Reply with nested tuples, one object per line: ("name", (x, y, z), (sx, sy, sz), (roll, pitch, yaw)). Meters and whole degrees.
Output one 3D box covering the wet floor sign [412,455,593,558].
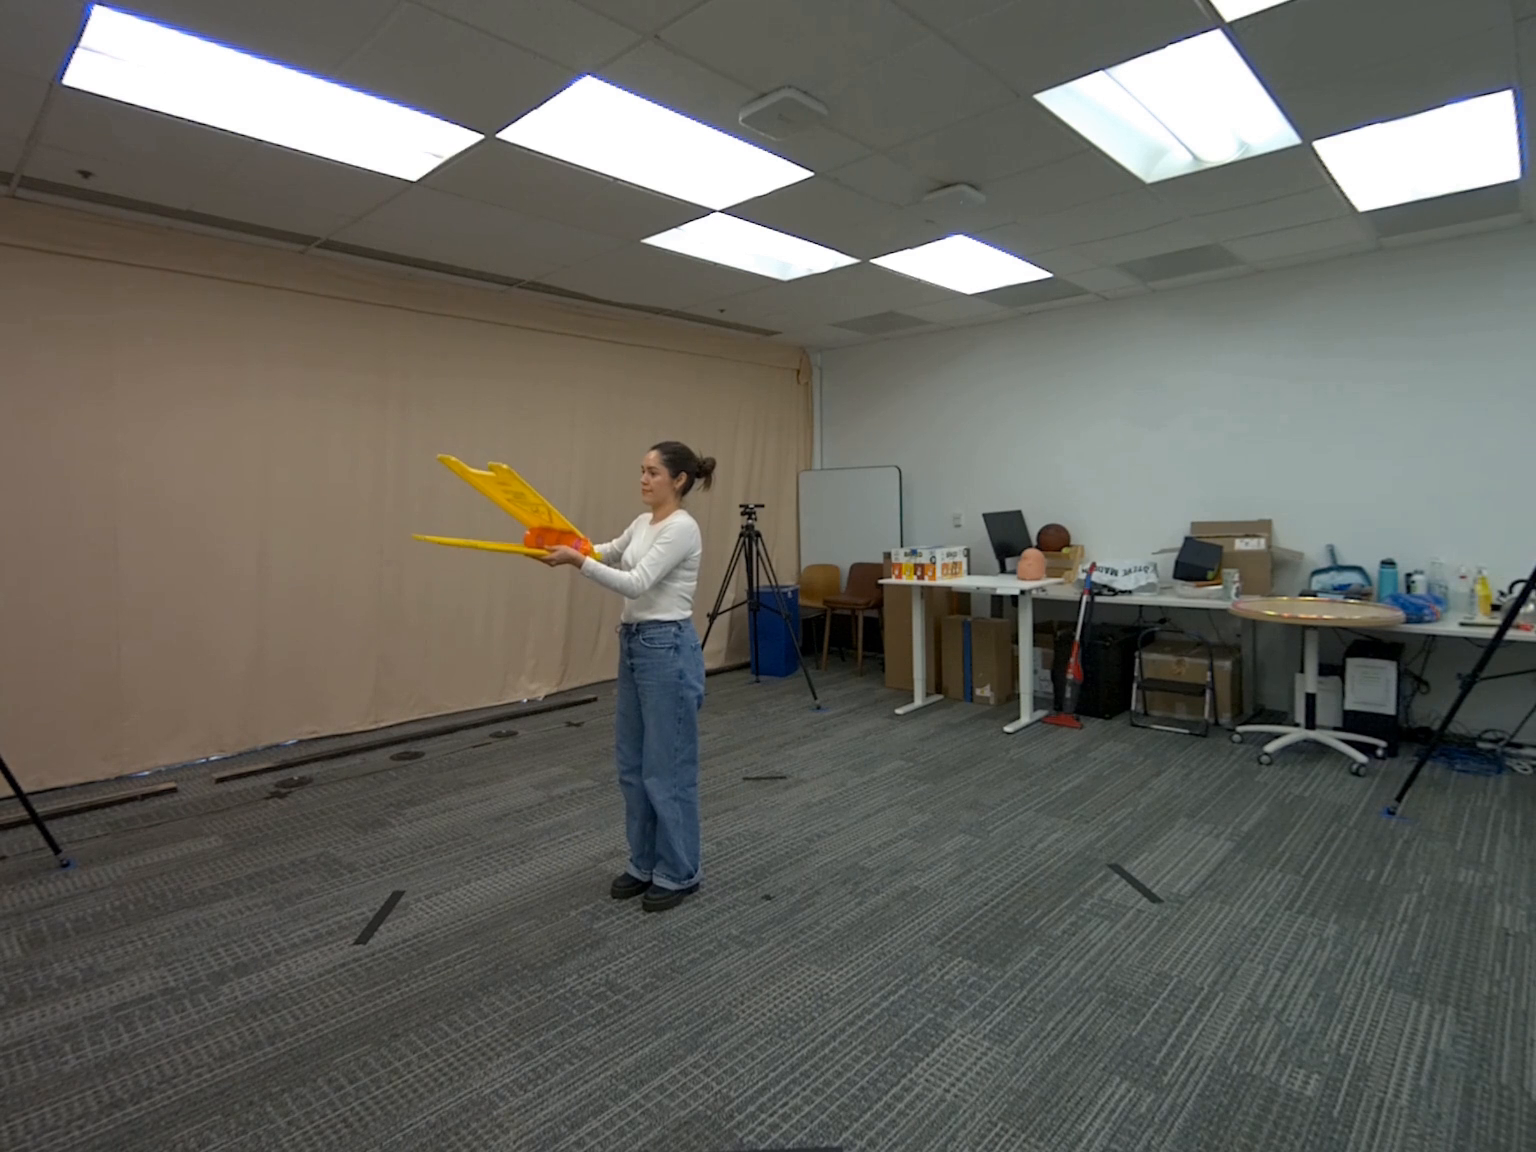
("wet floor sign", (-0.797, -0.145, 2.730), (0.290, 0.290, 0.626), (11, -9, 26))
